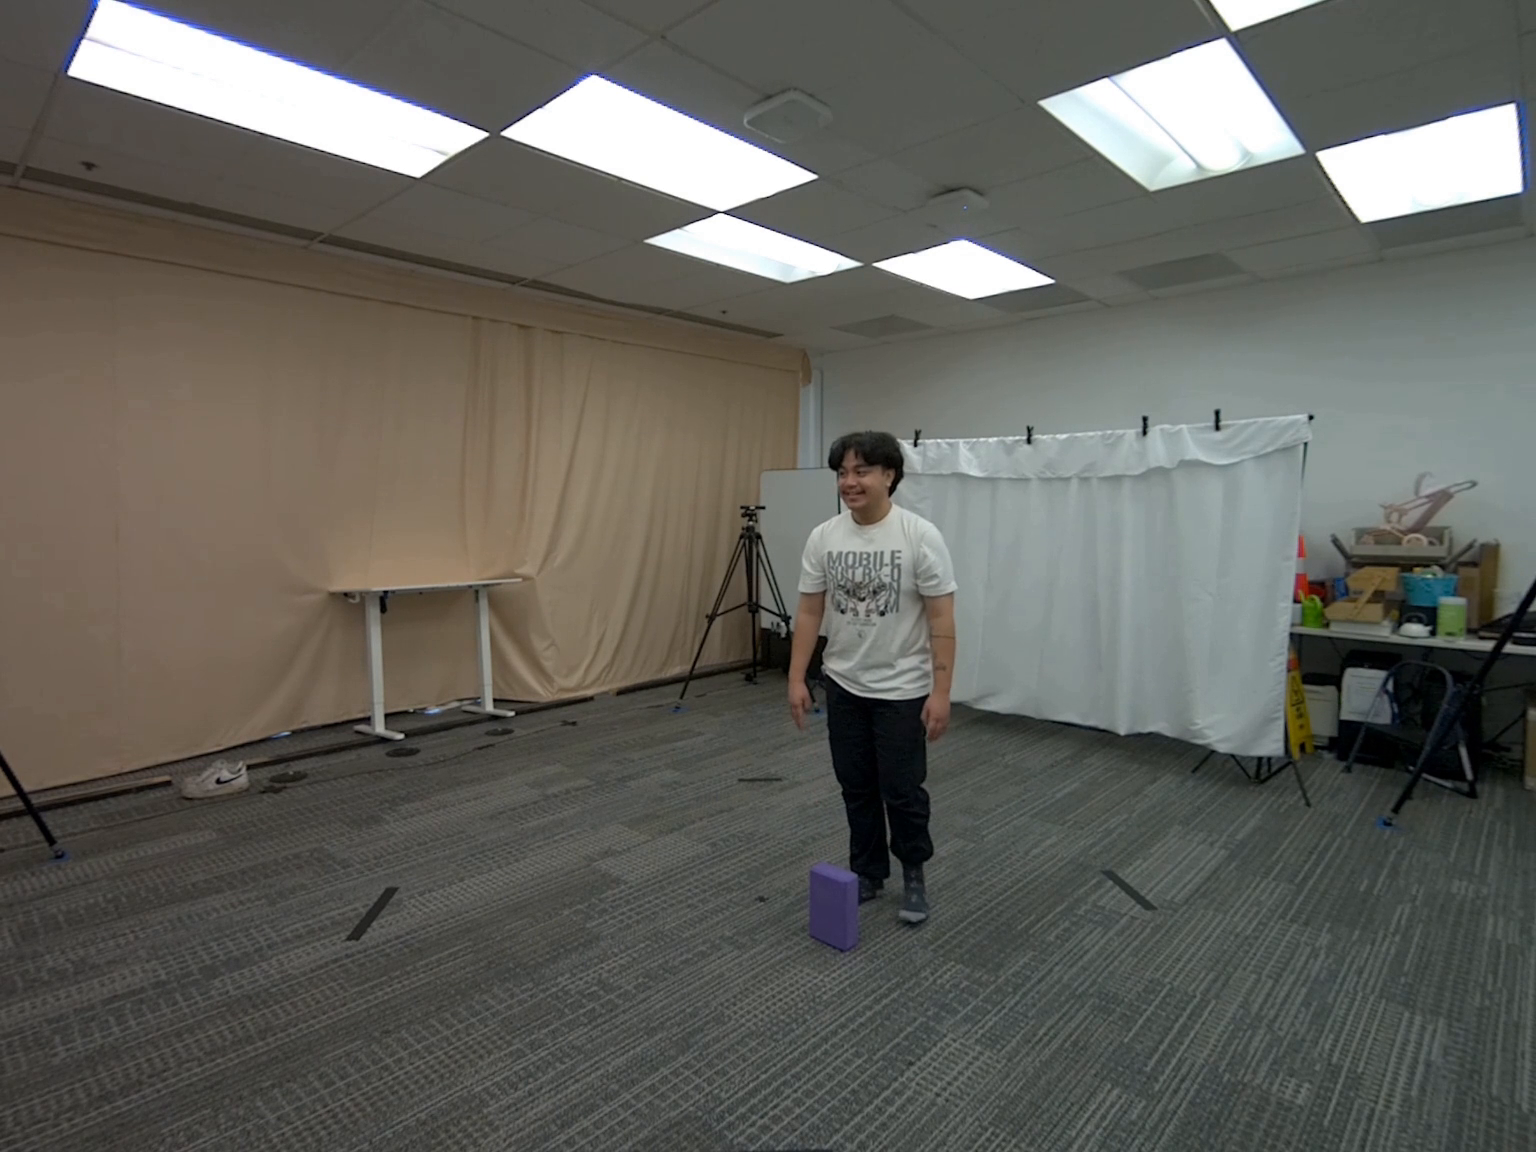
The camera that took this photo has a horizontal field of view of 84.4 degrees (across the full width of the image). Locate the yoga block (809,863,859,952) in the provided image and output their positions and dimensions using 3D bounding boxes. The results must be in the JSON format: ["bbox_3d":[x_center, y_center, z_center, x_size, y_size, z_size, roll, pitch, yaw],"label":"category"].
[{"bbox_3d":[0.216,1.054,2.686,0.154,0.229,0.074,5,6,42],"label":"yoga block"}]
